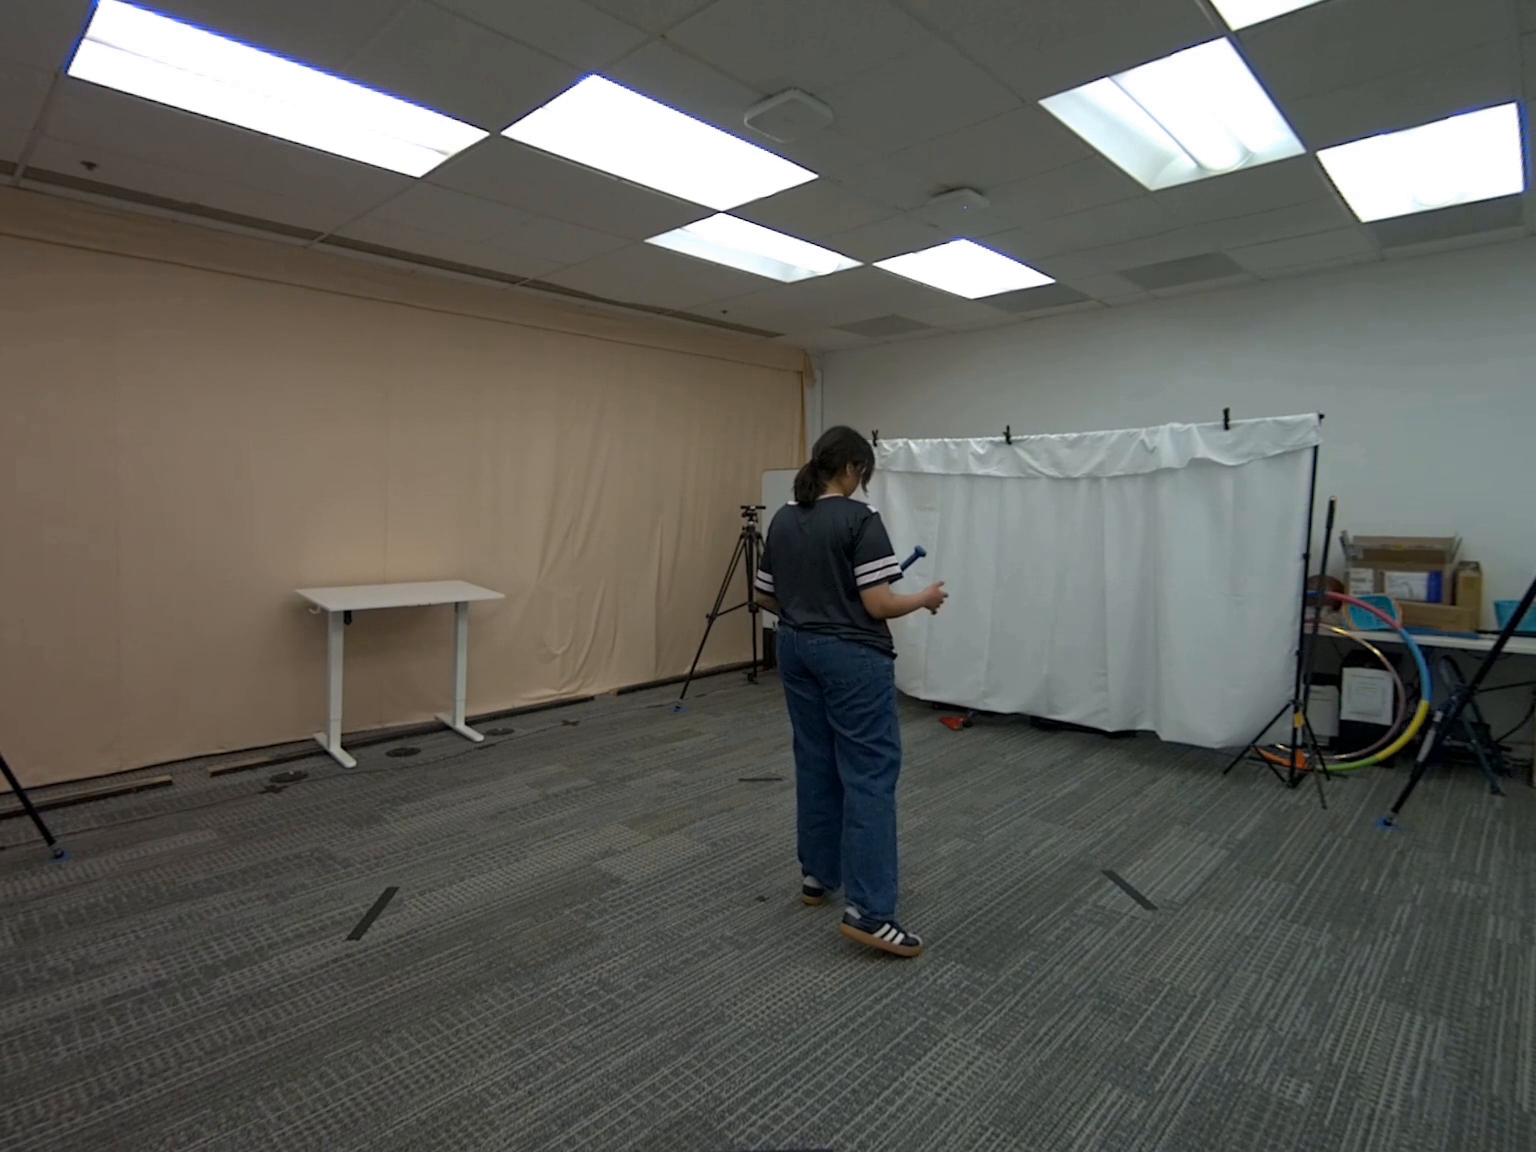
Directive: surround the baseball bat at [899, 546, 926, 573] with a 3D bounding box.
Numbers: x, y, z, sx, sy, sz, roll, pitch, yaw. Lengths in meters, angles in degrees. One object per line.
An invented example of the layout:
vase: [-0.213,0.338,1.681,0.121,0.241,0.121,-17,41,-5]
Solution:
baseball bat: [0.383,0.077,3.154,0.547,0.090,0.087,-44,-15,21]
